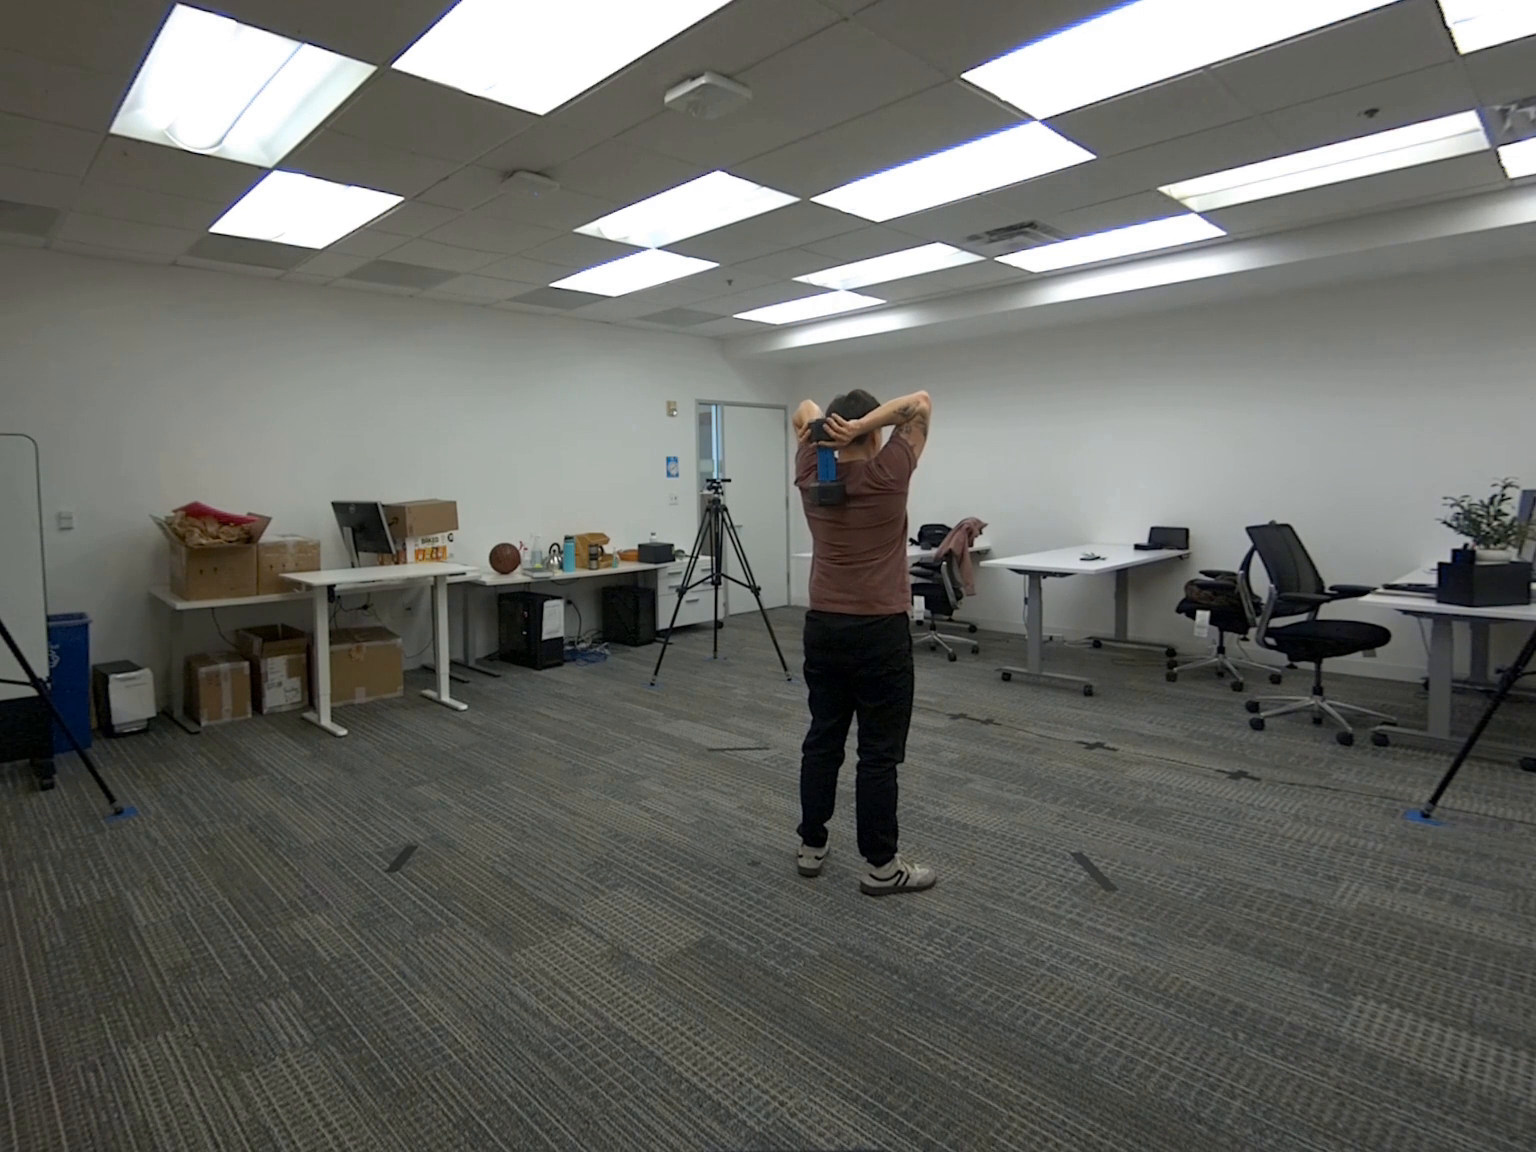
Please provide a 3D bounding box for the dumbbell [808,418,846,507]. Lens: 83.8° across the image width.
[{"bbox_3d":[0.207,-0.389,2.862,0.112,0.293,0.119,3,3,40],"label":"dumbbell"}]
